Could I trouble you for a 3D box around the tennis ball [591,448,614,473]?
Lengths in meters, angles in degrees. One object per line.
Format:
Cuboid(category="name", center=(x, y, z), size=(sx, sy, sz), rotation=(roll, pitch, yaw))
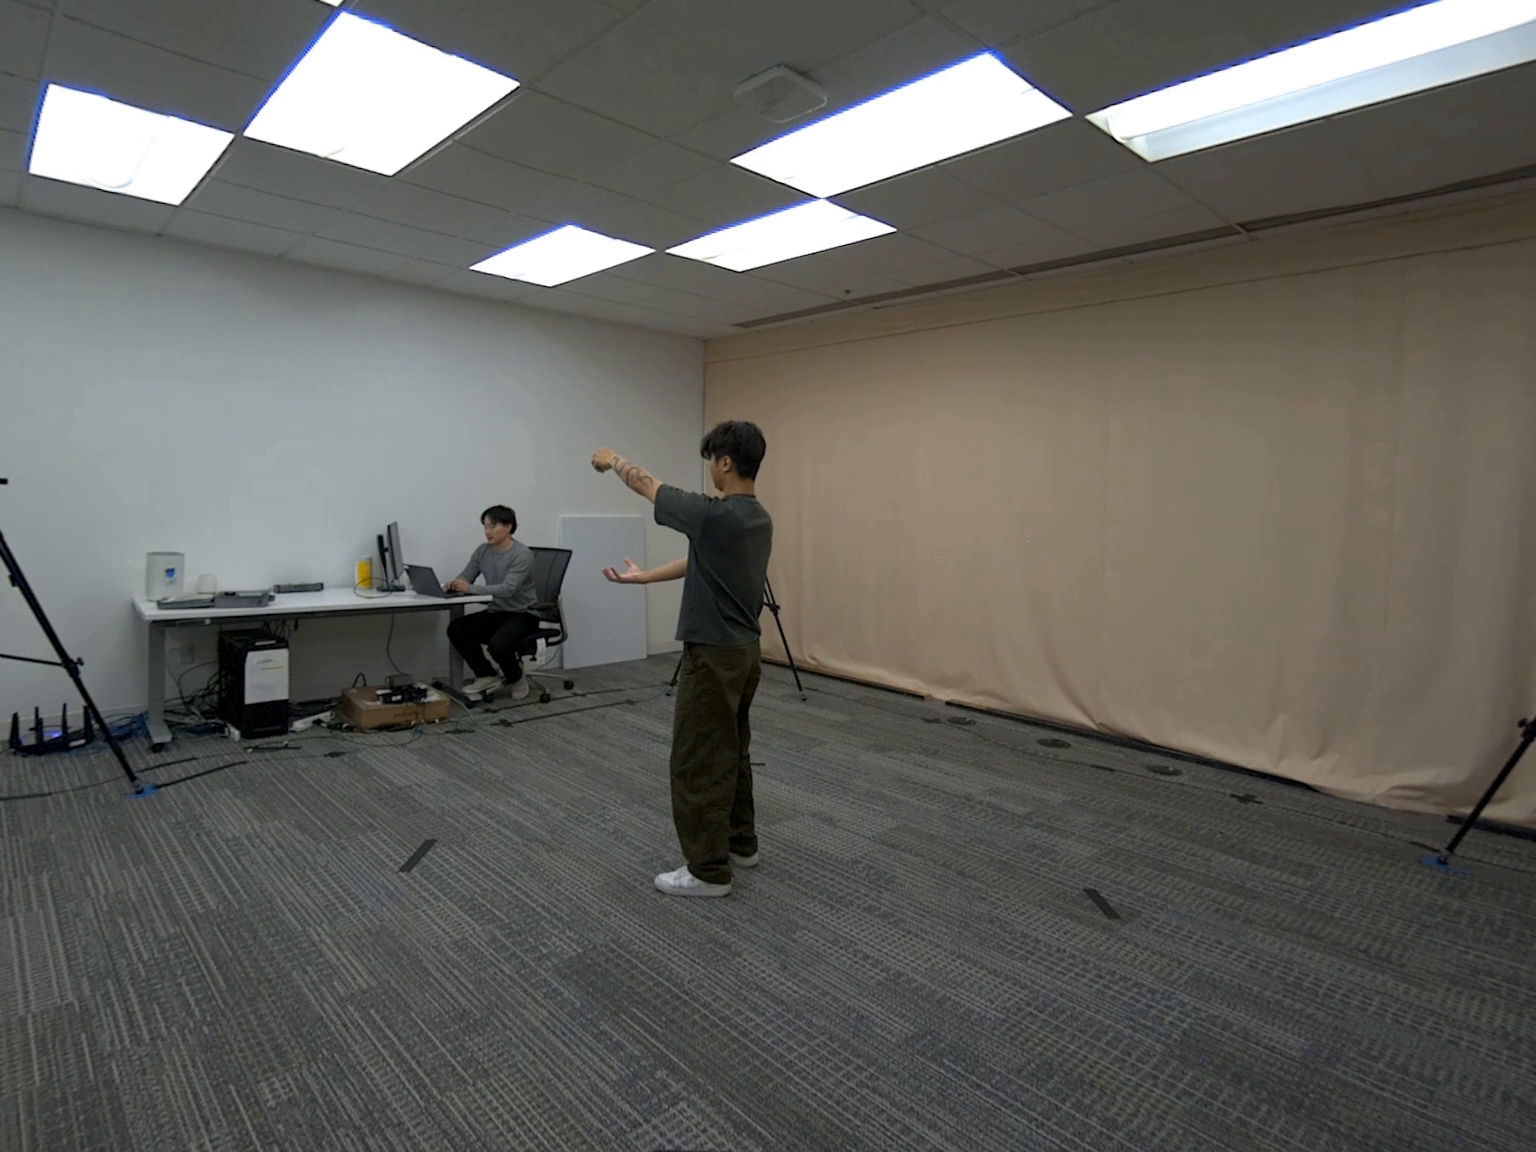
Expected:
Cuboid(category="tennis ball", center=(-0.652, -0.456, 3.202), size=(0.066, 0.066, 0.067), rotation=(1, 4, -1))
